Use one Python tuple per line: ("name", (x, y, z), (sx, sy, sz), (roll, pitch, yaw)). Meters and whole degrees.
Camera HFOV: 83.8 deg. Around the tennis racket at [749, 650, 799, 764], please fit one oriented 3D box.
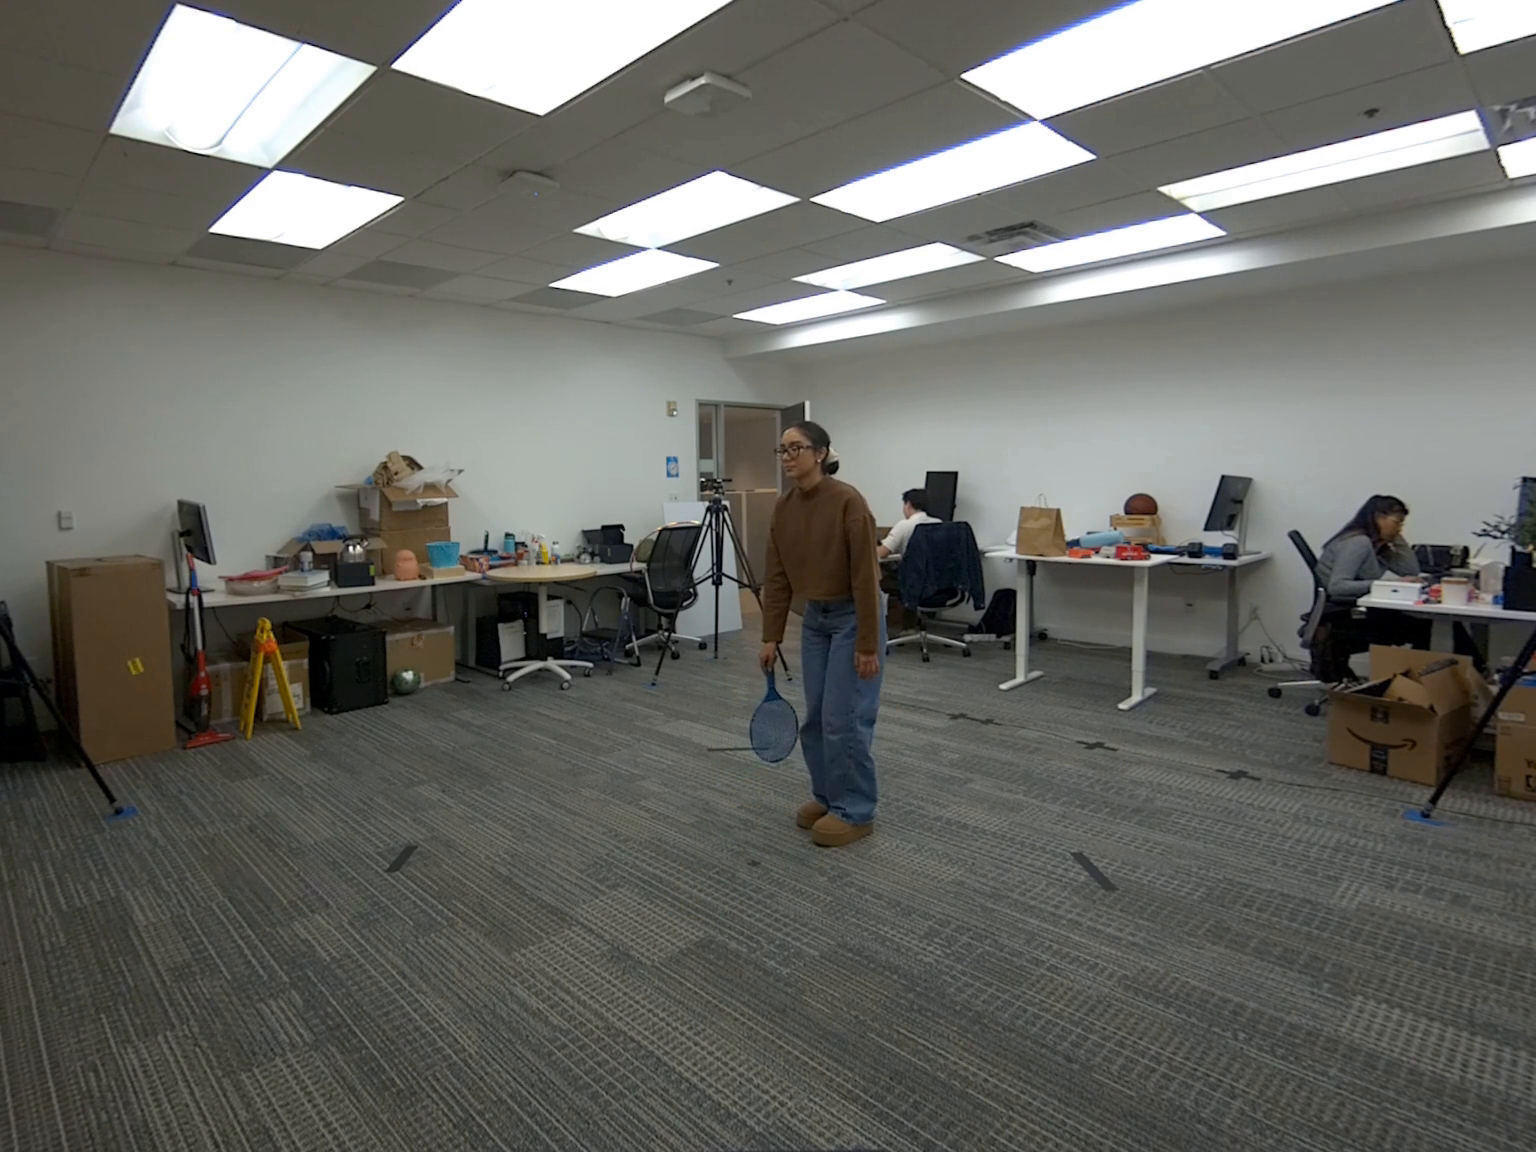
("tennis racket", (0.021, 0.527, 3.387), (0.210, 0.430, 0.032), (-4, 6, -18))
